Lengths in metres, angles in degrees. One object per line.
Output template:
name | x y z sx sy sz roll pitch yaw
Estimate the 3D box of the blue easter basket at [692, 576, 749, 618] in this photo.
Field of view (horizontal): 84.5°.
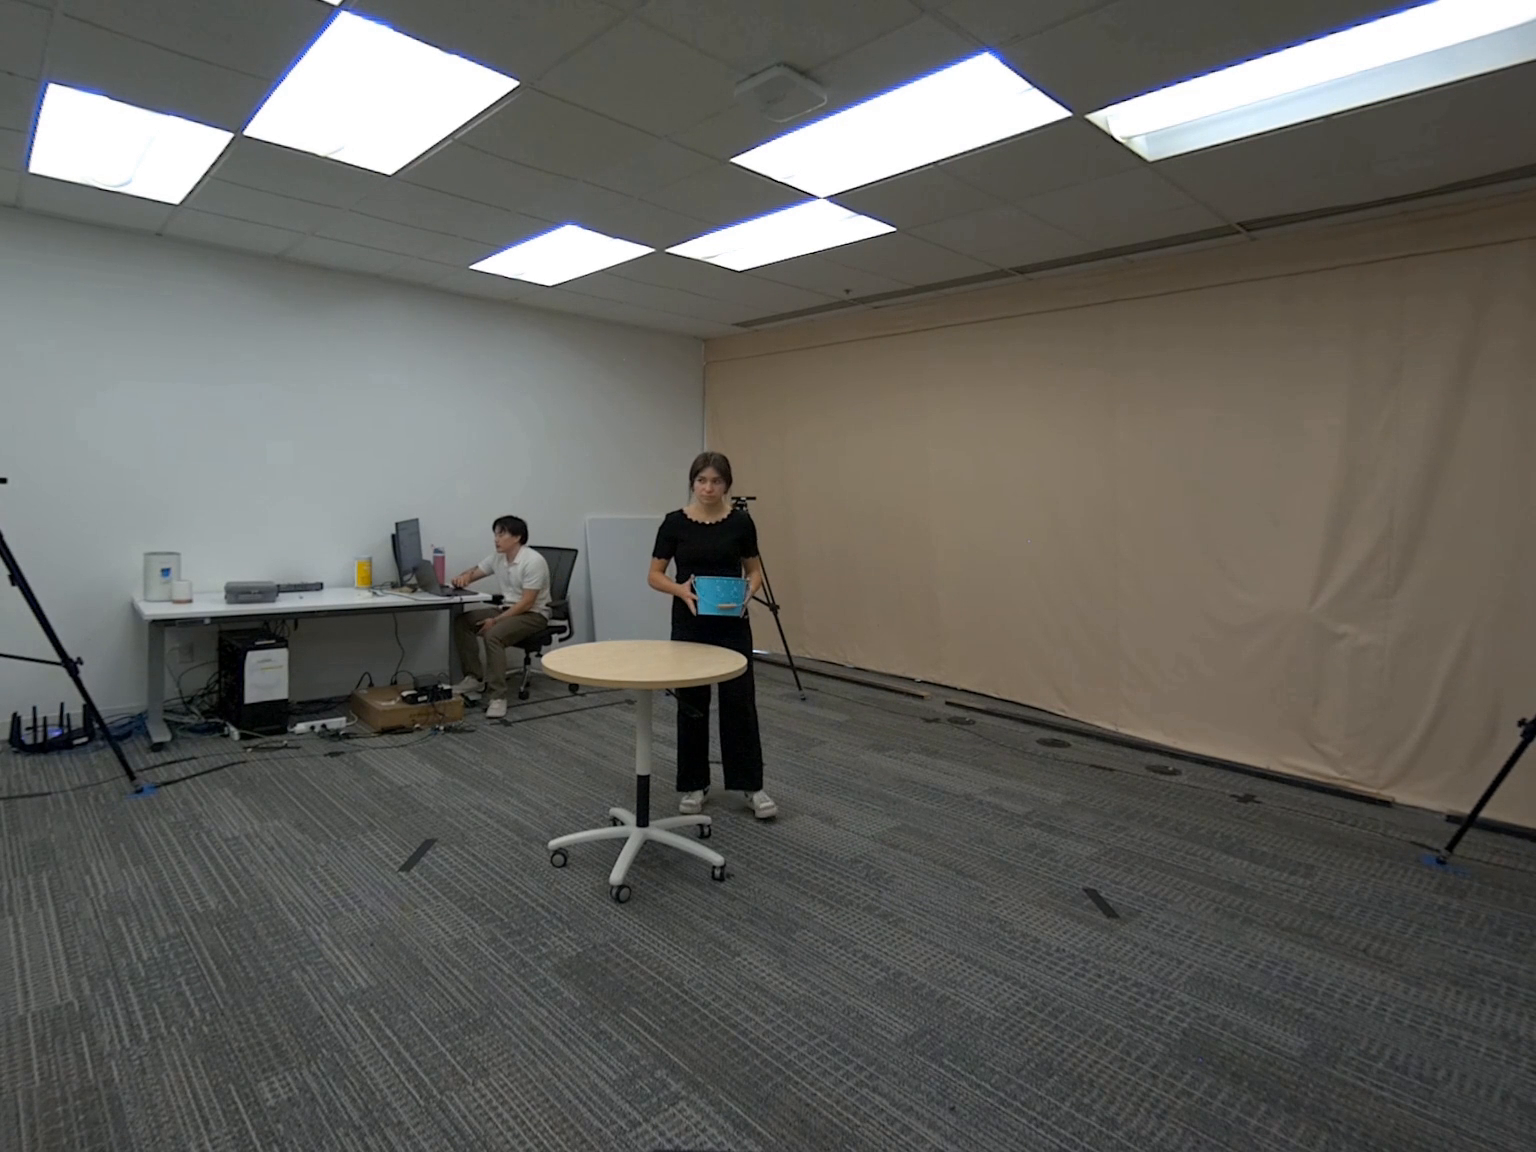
blue easter basket | -0.214 0.089 3.526 0.243 0.156 0.243 2 -4 -1
